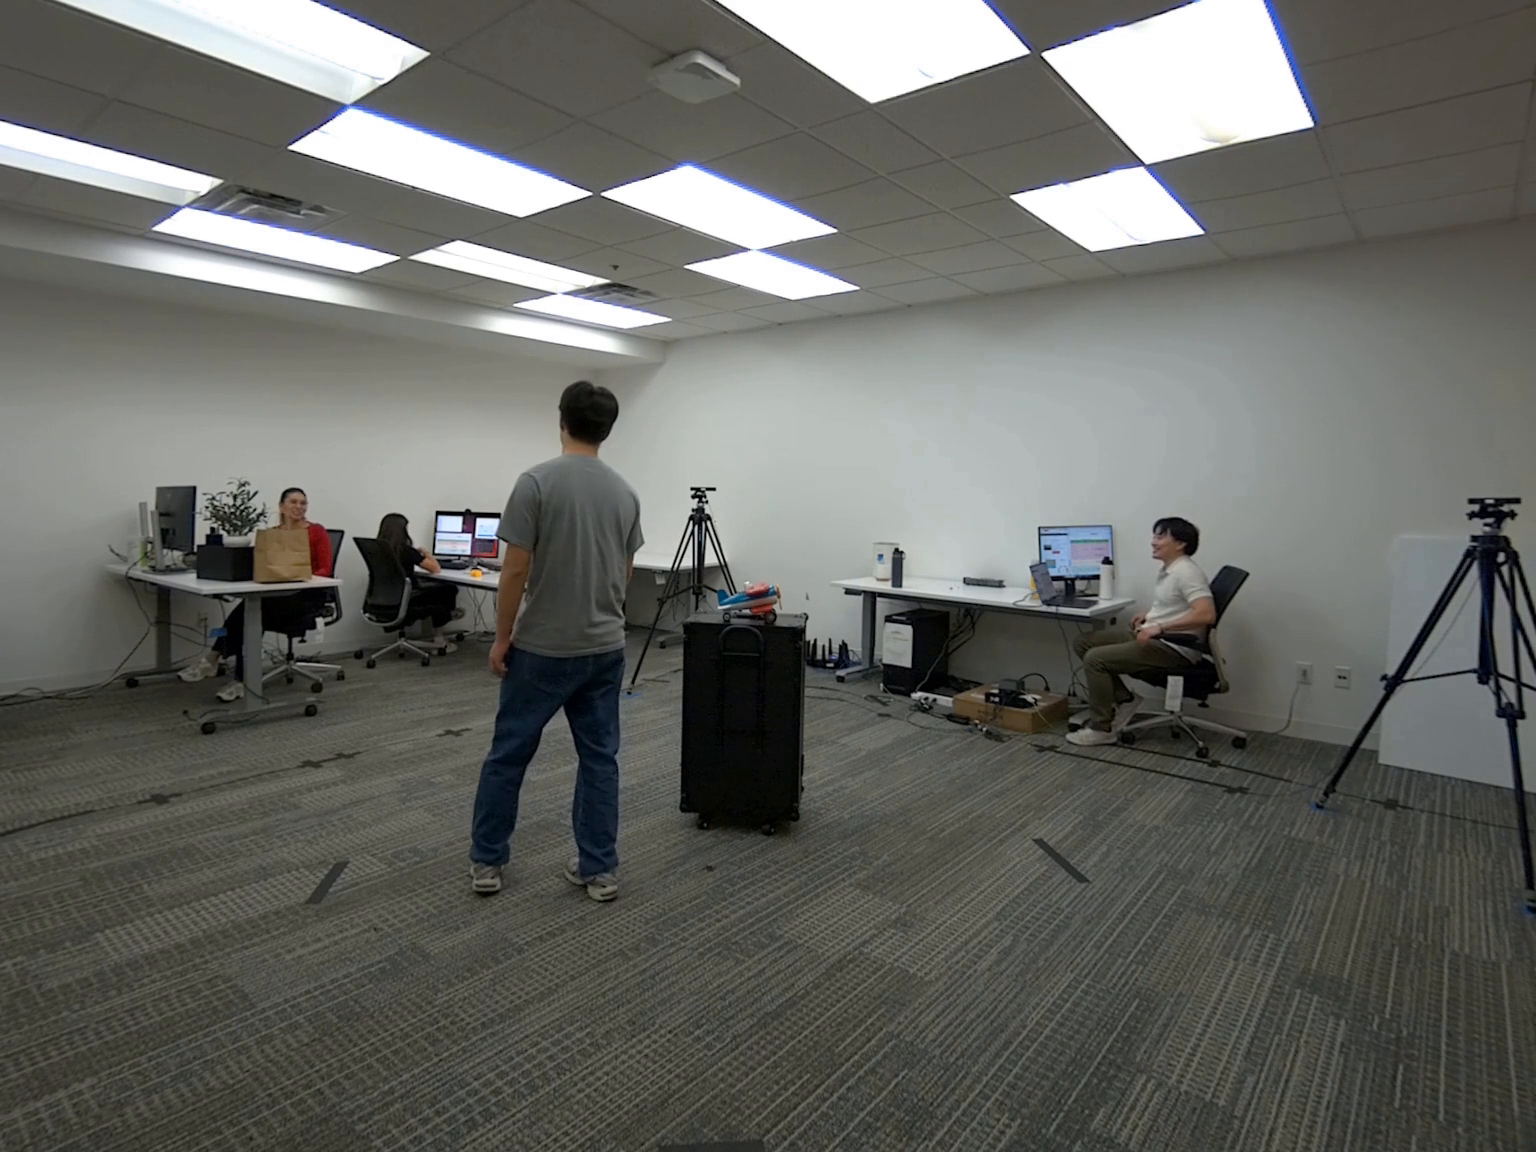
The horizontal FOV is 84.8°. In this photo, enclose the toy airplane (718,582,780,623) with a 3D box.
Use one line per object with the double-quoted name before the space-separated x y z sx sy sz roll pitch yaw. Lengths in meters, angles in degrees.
"toy airplane" -0.079 0.105 3.464 0.252 0.156 0.258 0 4 -28
